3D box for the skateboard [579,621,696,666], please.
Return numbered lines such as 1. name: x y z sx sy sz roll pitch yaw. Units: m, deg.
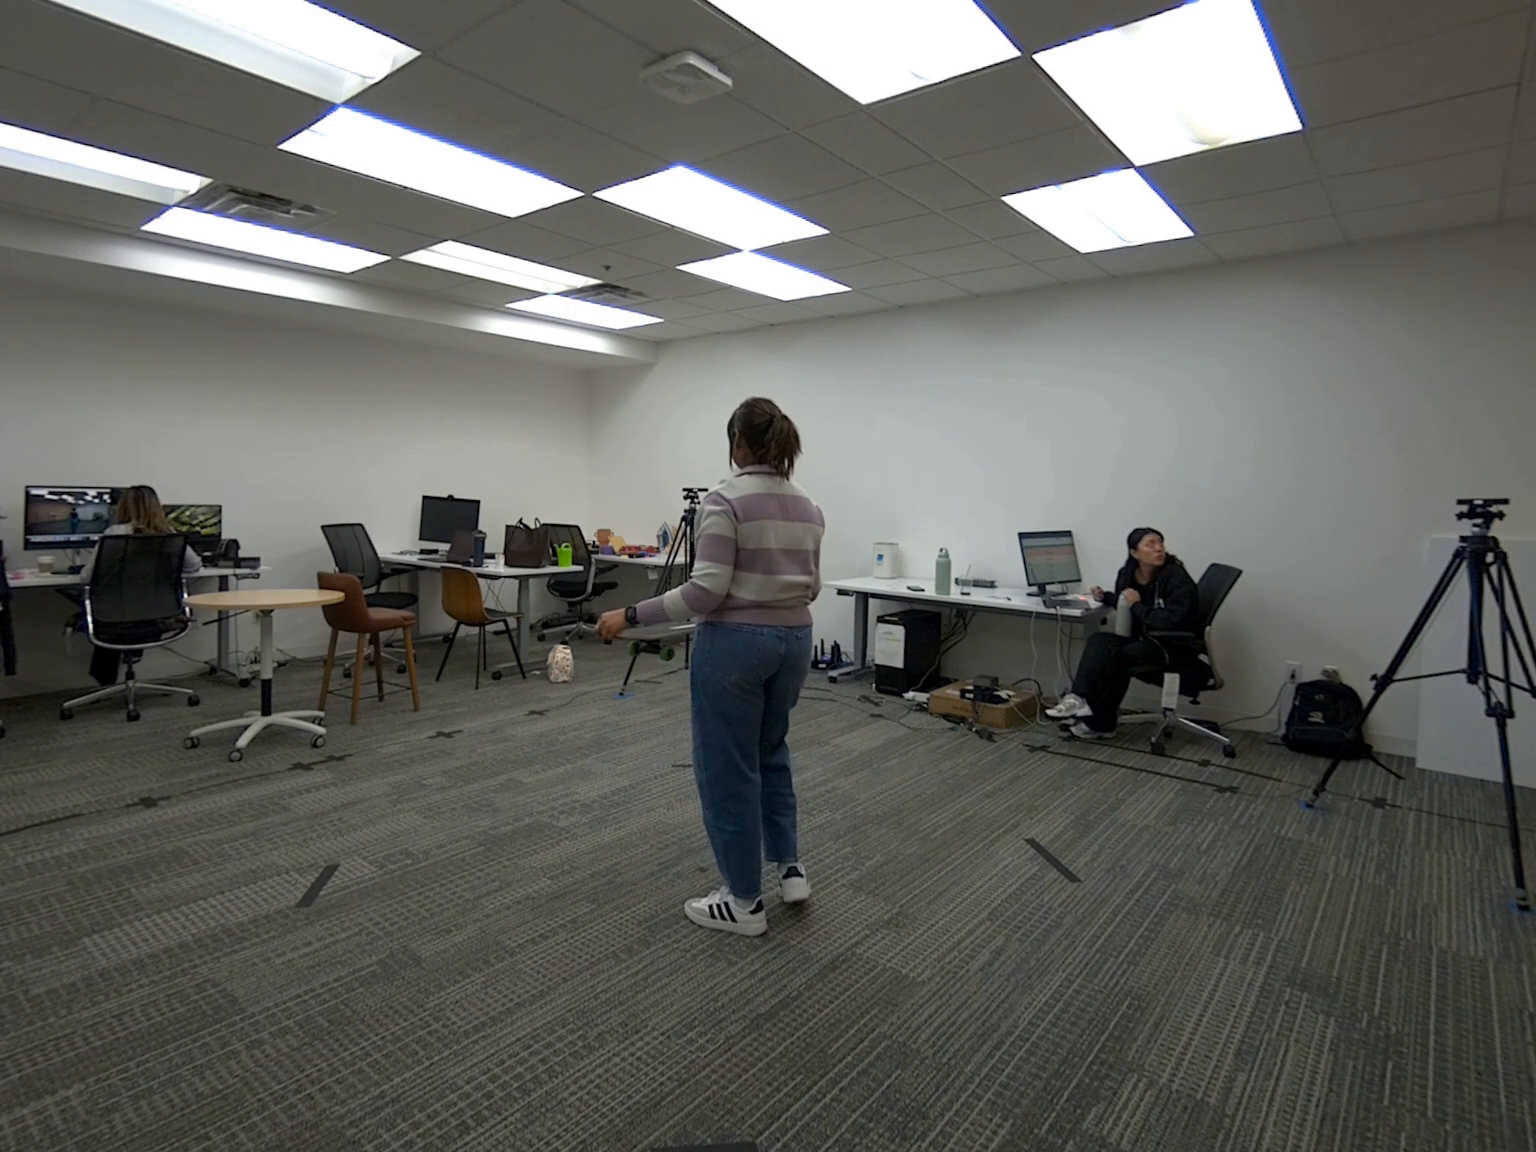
1. skateboard: -0.277 0.199 2.915 0.200 0.110 0.761 3 4 43
